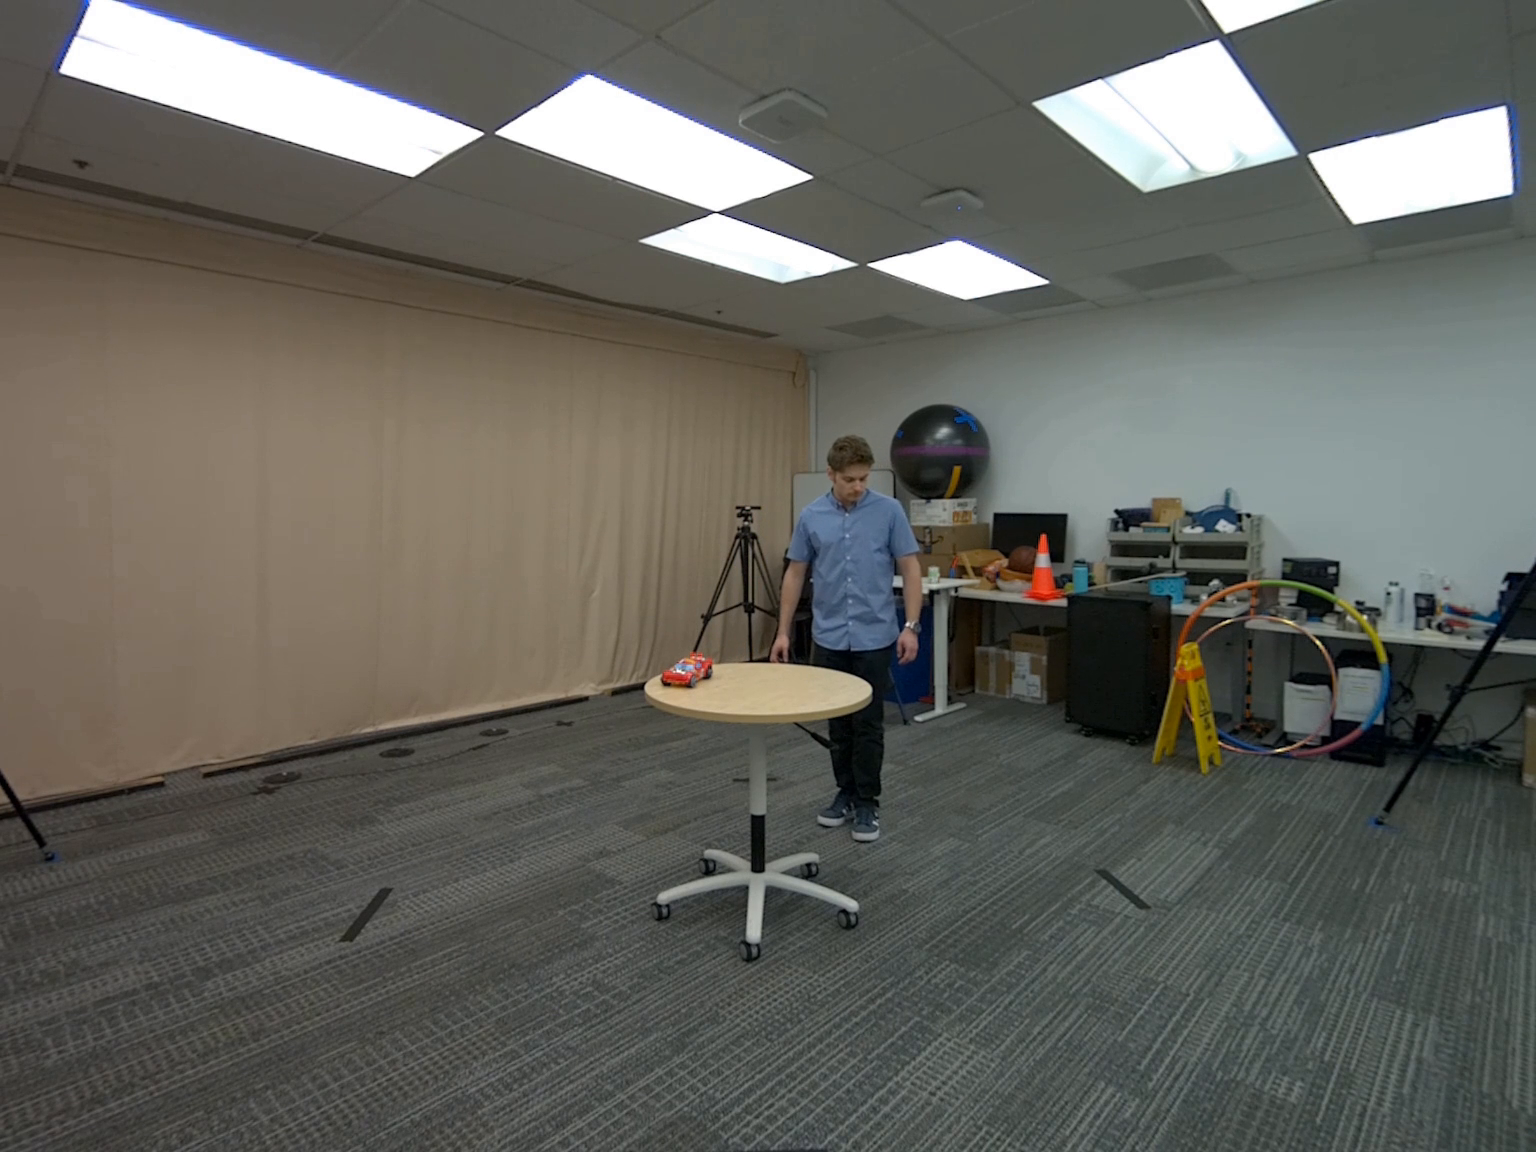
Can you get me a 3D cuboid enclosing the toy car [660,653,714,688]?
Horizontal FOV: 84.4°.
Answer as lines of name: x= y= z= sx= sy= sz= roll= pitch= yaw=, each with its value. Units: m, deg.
toy car: x=-0.265 y=0.335 z=2.925 sx=0.133 sy=0.082 sz=0.252 roll=2 pitch=17 yaw=19
